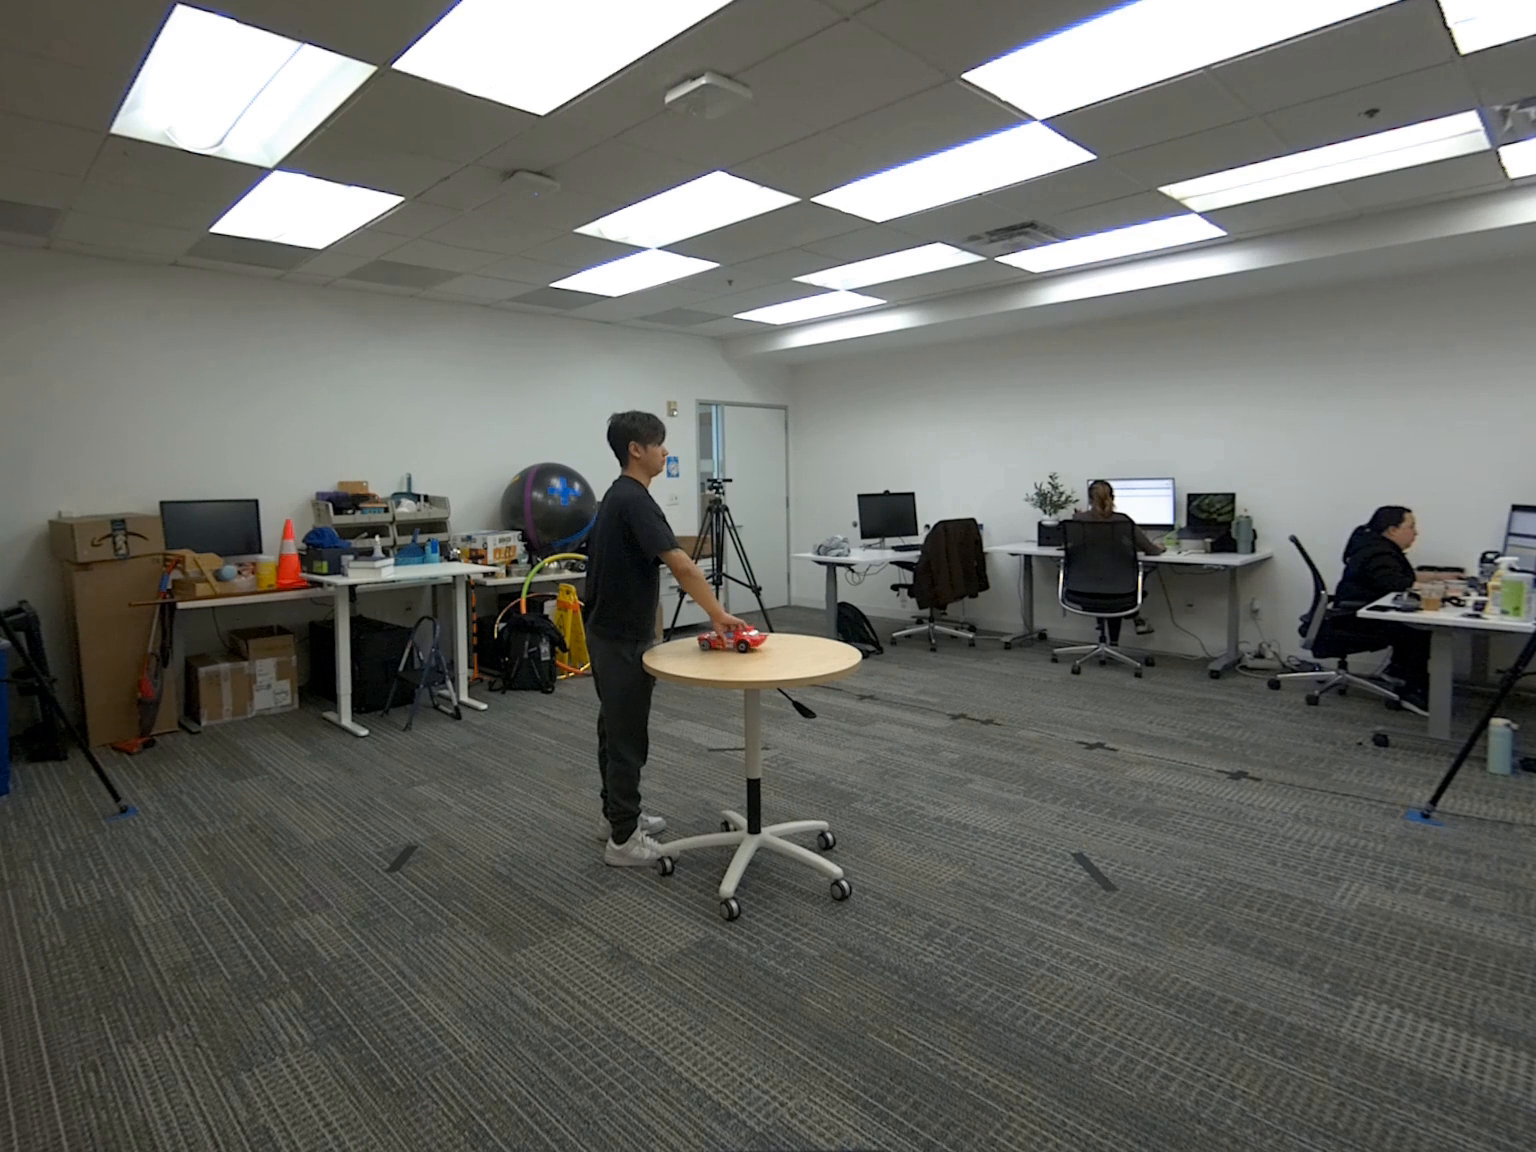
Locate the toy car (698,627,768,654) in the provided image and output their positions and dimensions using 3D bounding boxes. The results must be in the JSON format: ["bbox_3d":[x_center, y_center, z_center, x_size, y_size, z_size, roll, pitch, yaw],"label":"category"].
[{"bbox_3d":[-0.124,0.233,3.075,0.258,0.083,0.128,-10,3,20],"label":"toy car"}]
